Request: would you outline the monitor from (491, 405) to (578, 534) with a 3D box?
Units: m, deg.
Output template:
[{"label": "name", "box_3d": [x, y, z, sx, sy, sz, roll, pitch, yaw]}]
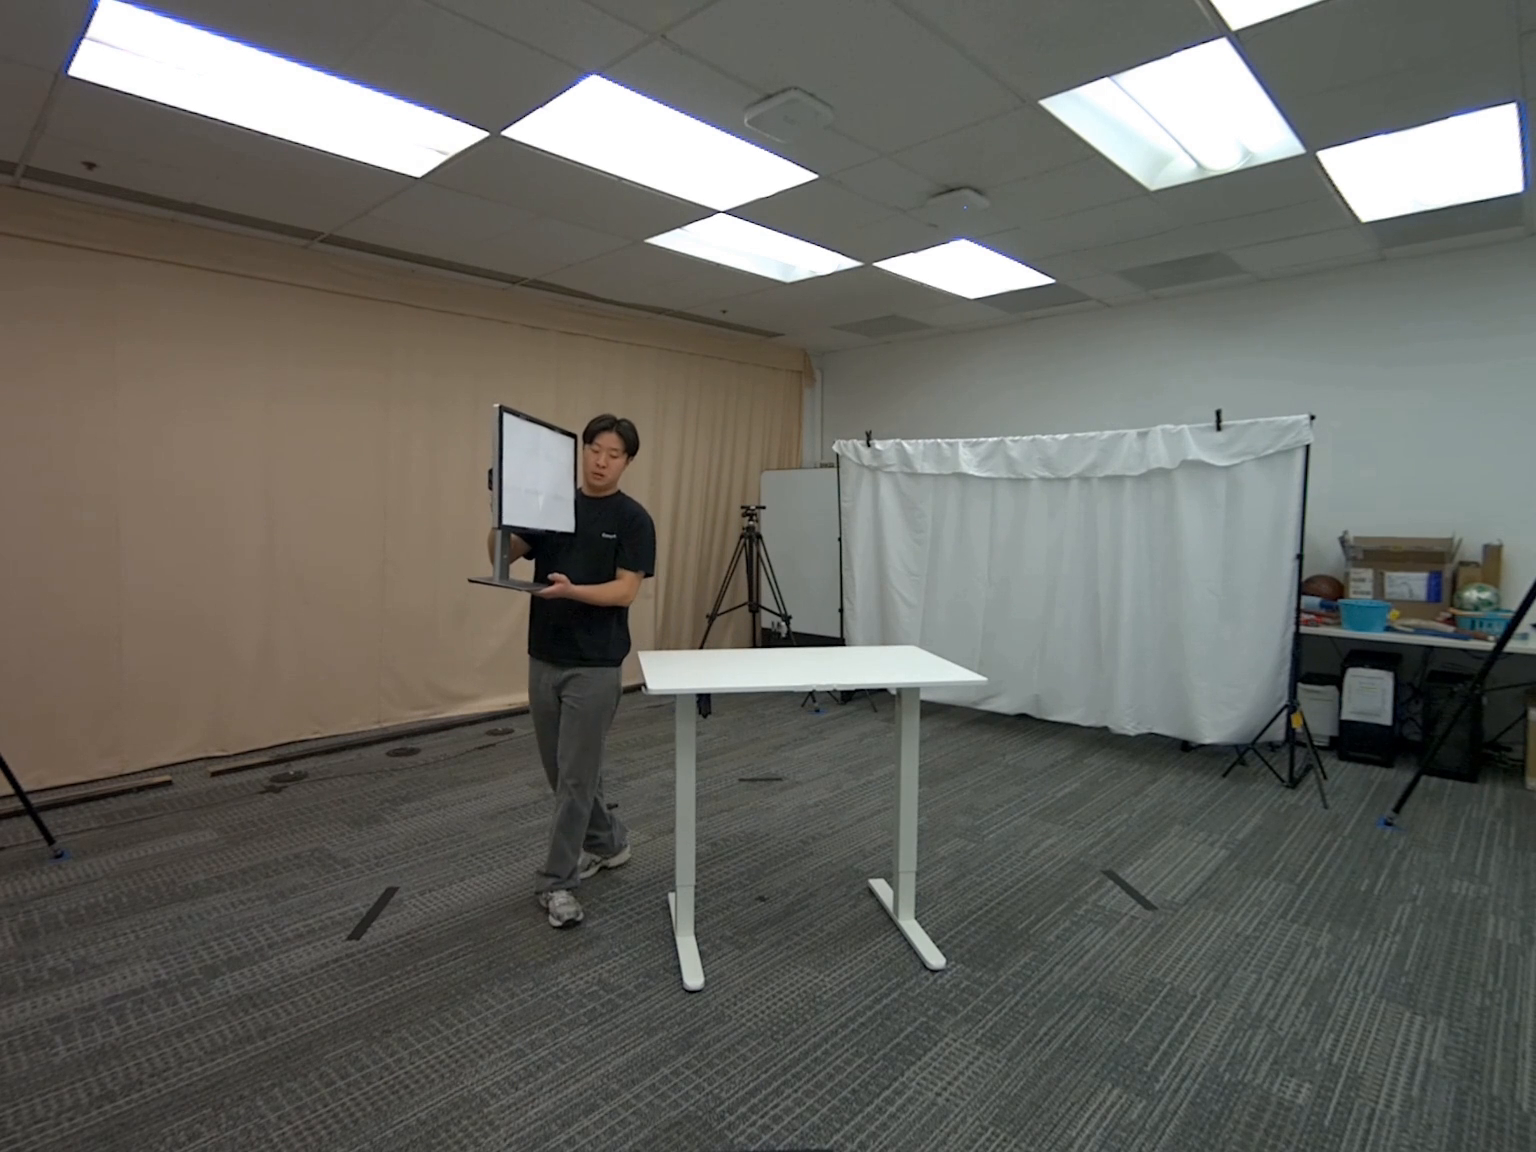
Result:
[{"label": "monitor", "box_3d": [-0.771, -0.219, 2.701, 0.226, 0.565, 0.552, 13, 3, 13]}]
